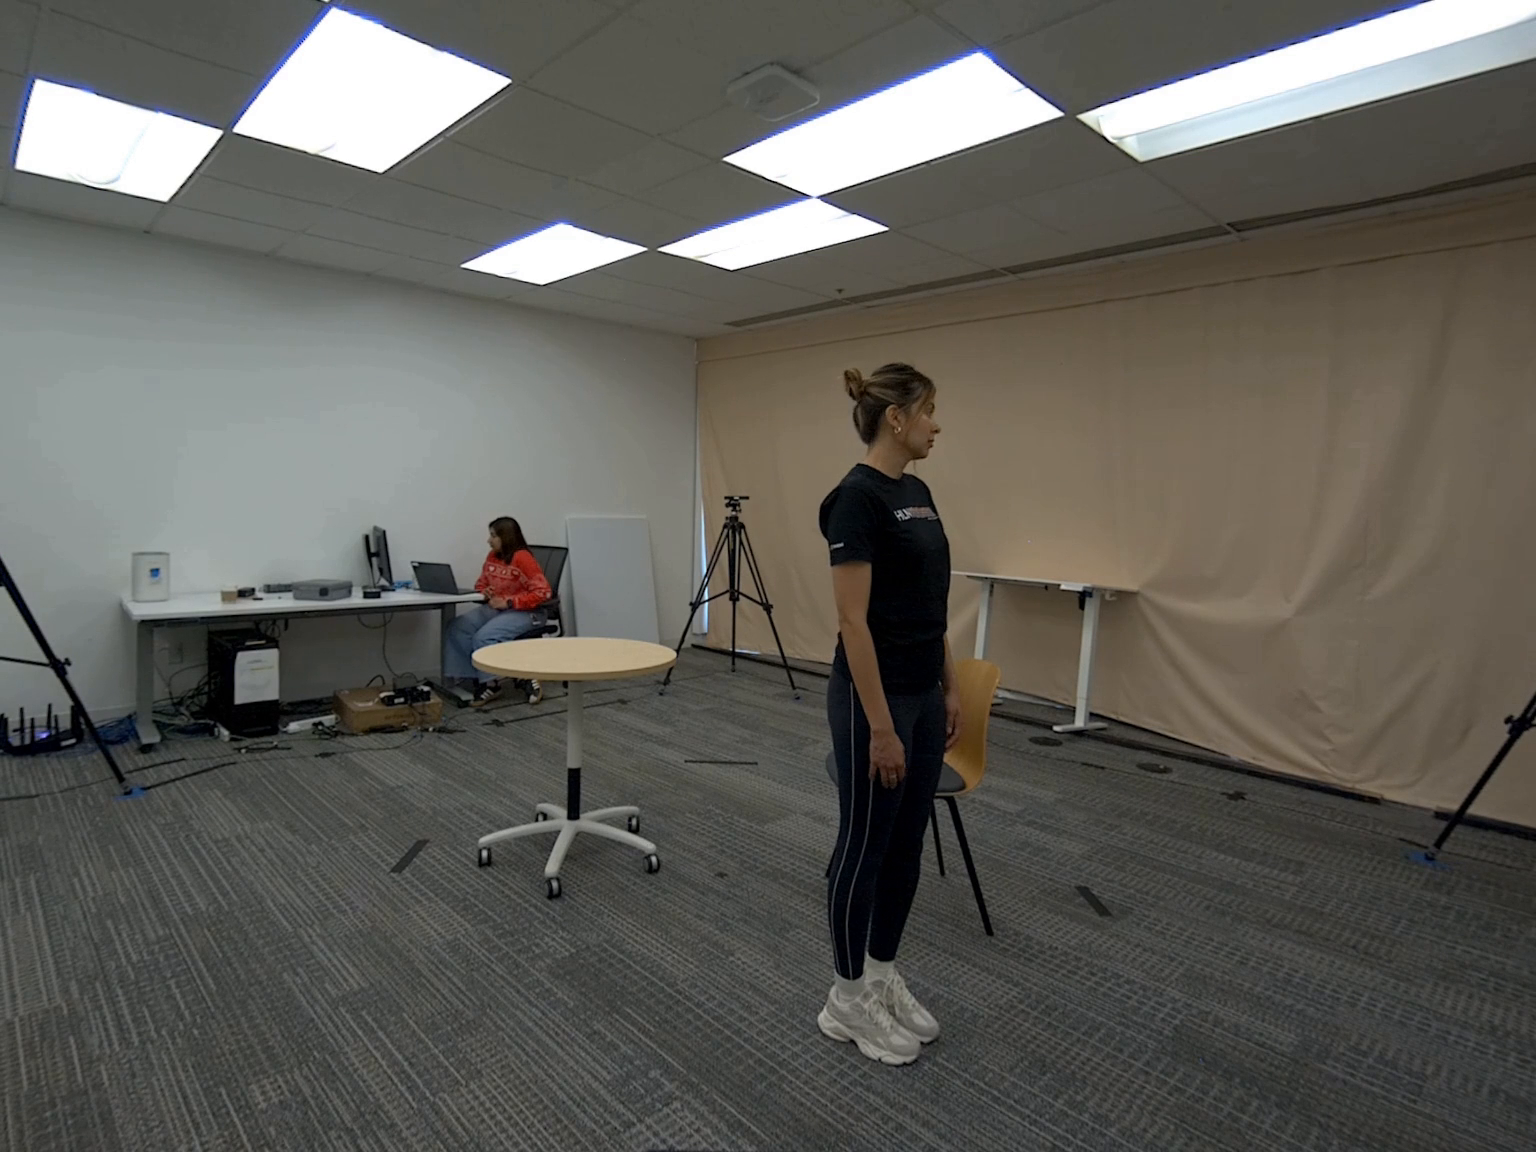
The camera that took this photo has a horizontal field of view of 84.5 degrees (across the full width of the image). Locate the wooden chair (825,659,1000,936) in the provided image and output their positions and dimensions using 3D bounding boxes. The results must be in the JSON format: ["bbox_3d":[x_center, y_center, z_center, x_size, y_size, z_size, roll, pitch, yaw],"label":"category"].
[{"bbox_3d":[0.473,0.714,2.875,0.520,0.876,0.482,5,3,-8],"label":"wooden chair"}]
